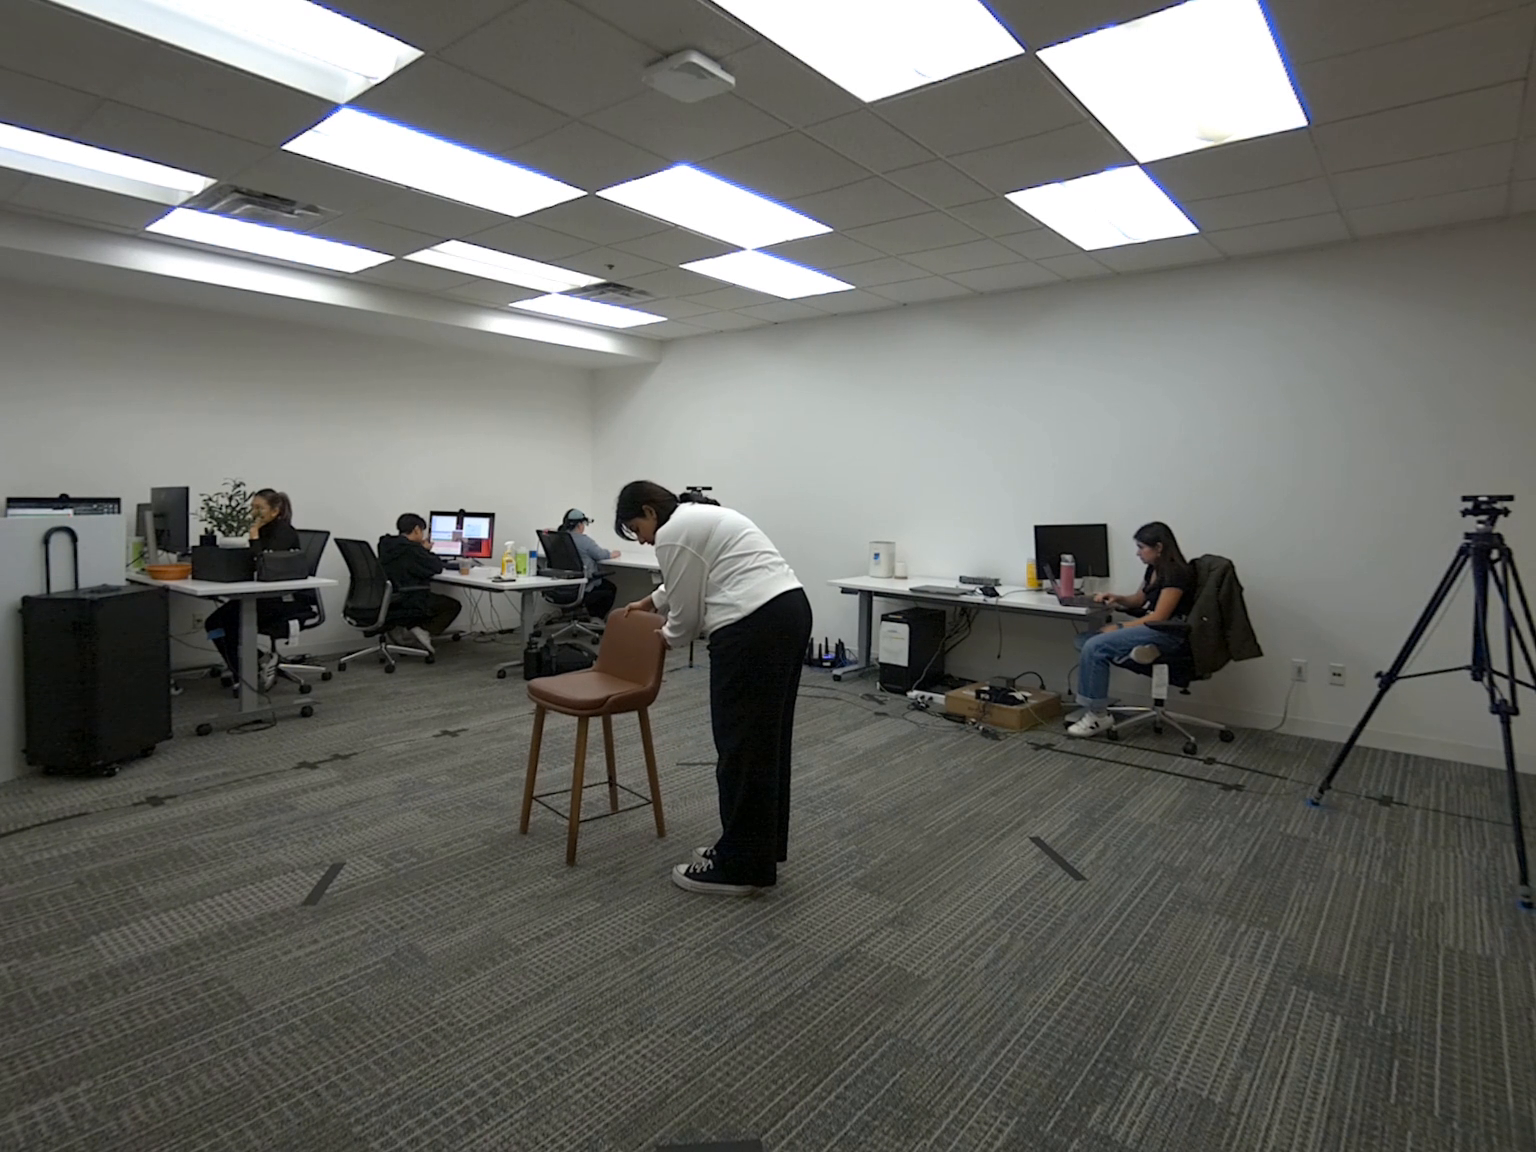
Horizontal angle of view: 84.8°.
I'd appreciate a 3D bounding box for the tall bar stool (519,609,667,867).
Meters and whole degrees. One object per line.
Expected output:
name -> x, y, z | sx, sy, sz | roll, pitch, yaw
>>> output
tall bar stool -> -0.686, 0.593, 3.380 | 0.453, 0.889, 0.472 | 1, 2, -41
